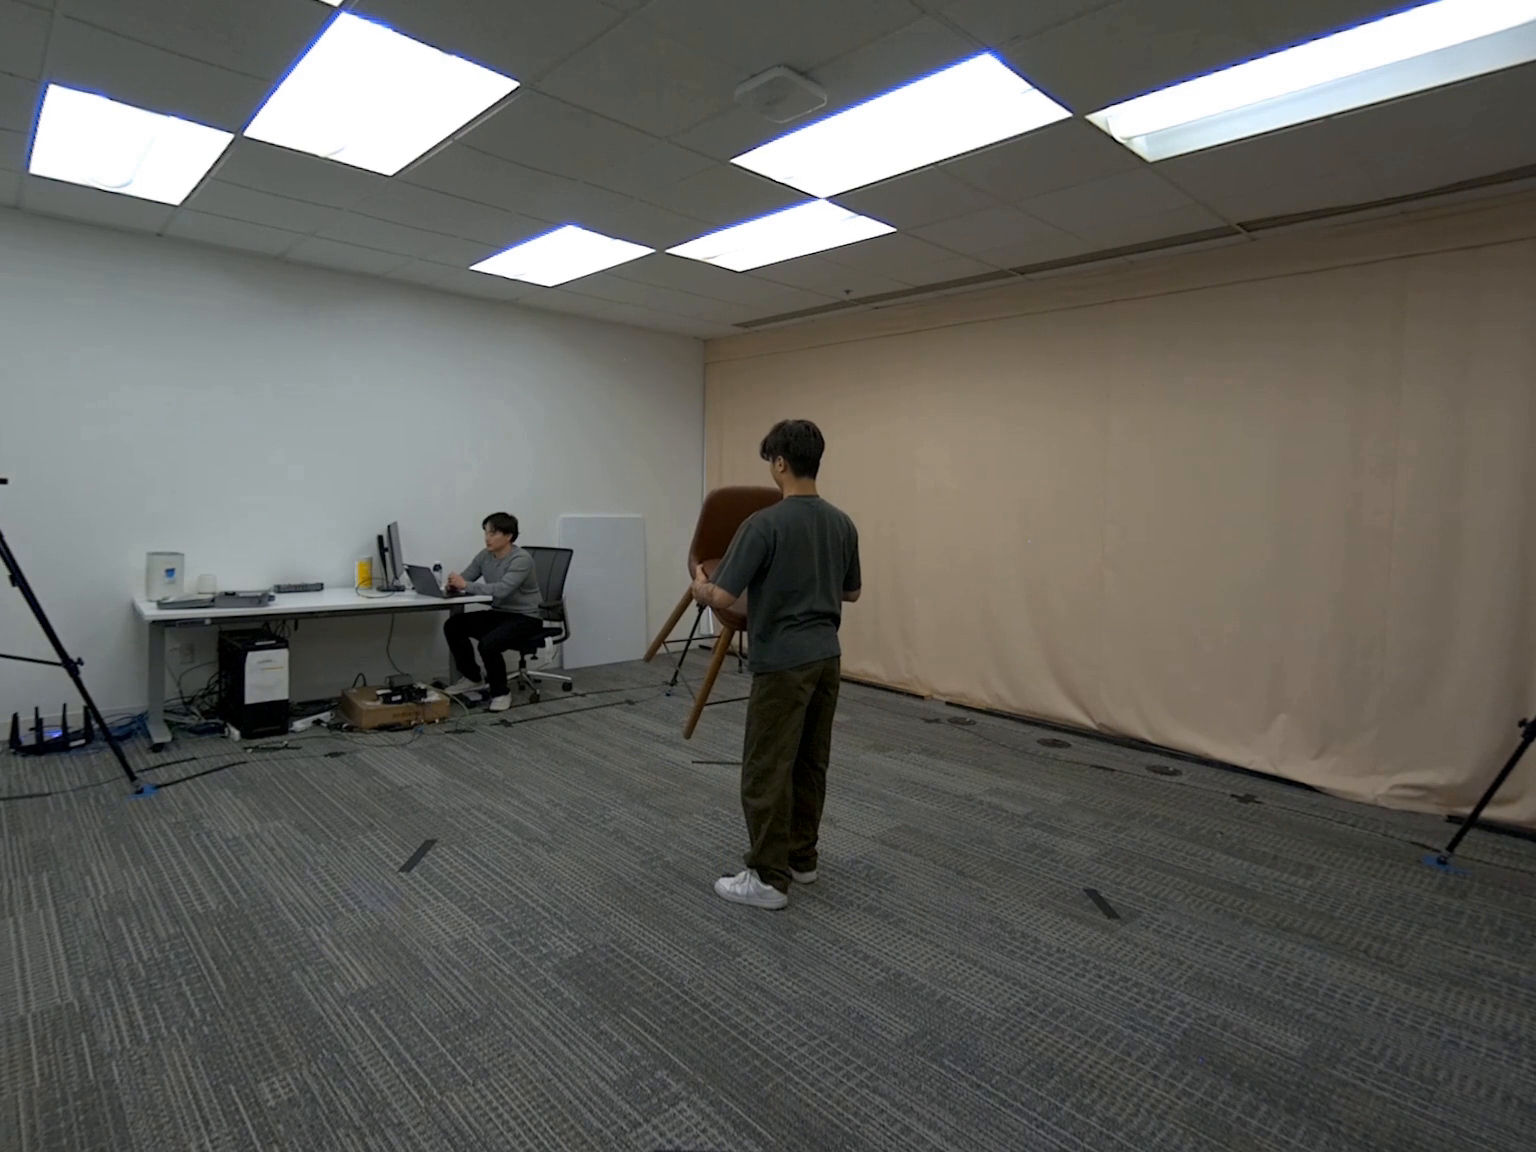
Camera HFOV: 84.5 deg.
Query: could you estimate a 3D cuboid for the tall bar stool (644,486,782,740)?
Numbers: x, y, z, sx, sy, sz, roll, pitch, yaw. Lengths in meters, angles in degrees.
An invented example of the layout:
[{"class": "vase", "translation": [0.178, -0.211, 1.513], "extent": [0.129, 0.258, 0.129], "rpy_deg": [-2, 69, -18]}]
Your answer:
[{"class": "tall bar stool", "translation": [-0.123, 0.147, 3.291], "extent": [0.446, 0.881, 0.482], "rpy_deg": [-1, 37, -36]}]
